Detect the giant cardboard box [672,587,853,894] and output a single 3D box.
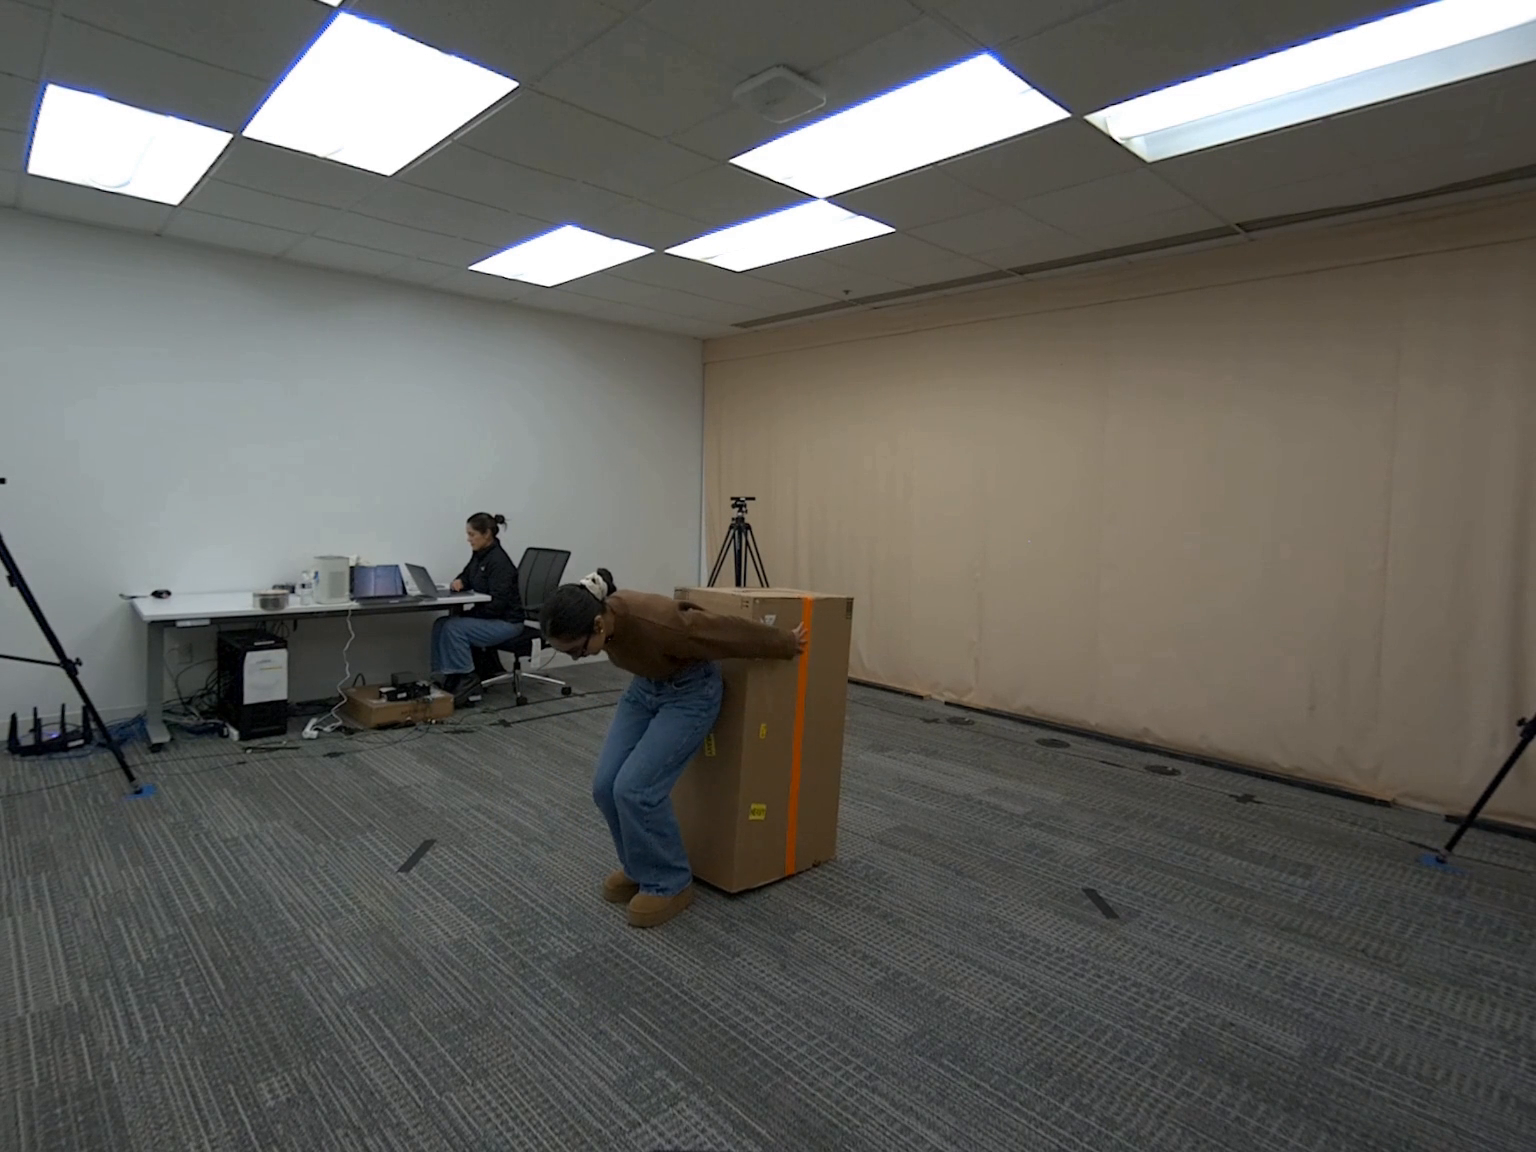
[{"bbox_3d":[-0.047,0.576,3.232,0.458,1.027,0.569,4,0,42],"label":"giant cardboard box"}]
